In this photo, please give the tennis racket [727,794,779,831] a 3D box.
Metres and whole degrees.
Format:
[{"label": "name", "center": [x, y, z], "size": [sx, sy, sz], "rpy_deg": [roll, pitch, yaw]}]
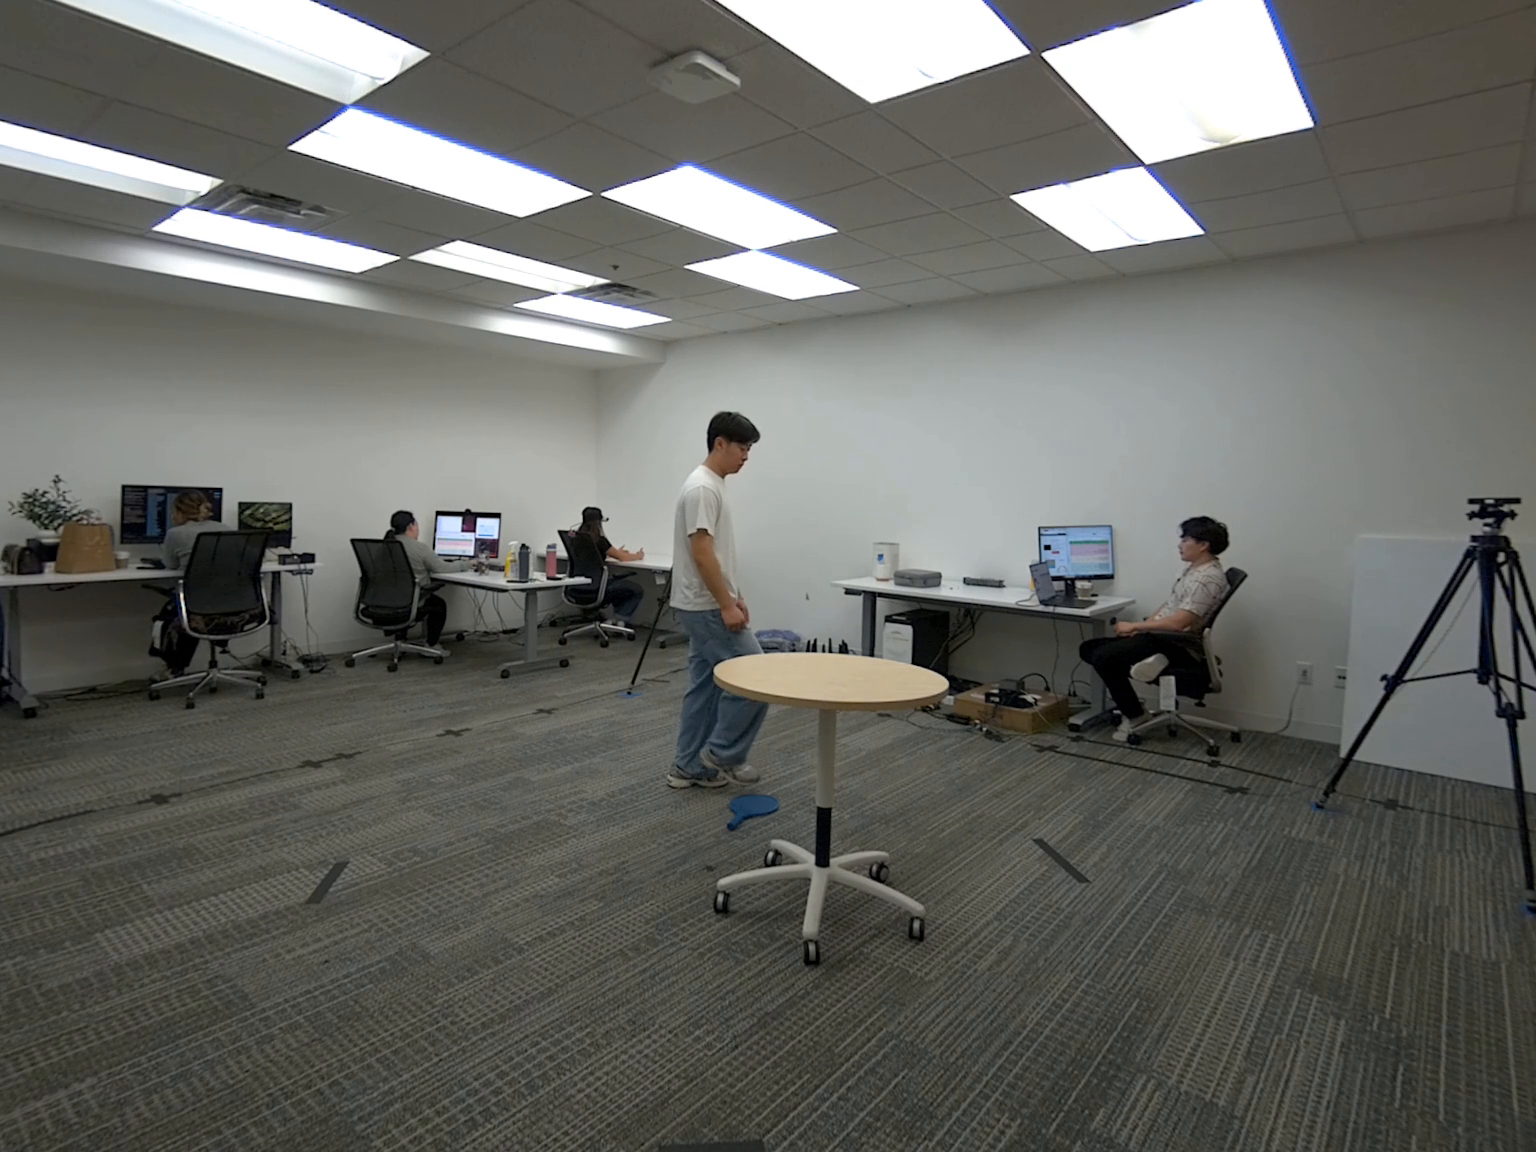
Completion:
[{"label": "tennis racket", "center": [-0.098, 0.999, 3.652], "size": [0.218, 0.032, 0.424], "rpy_deg": [2, 4, 20]}]
